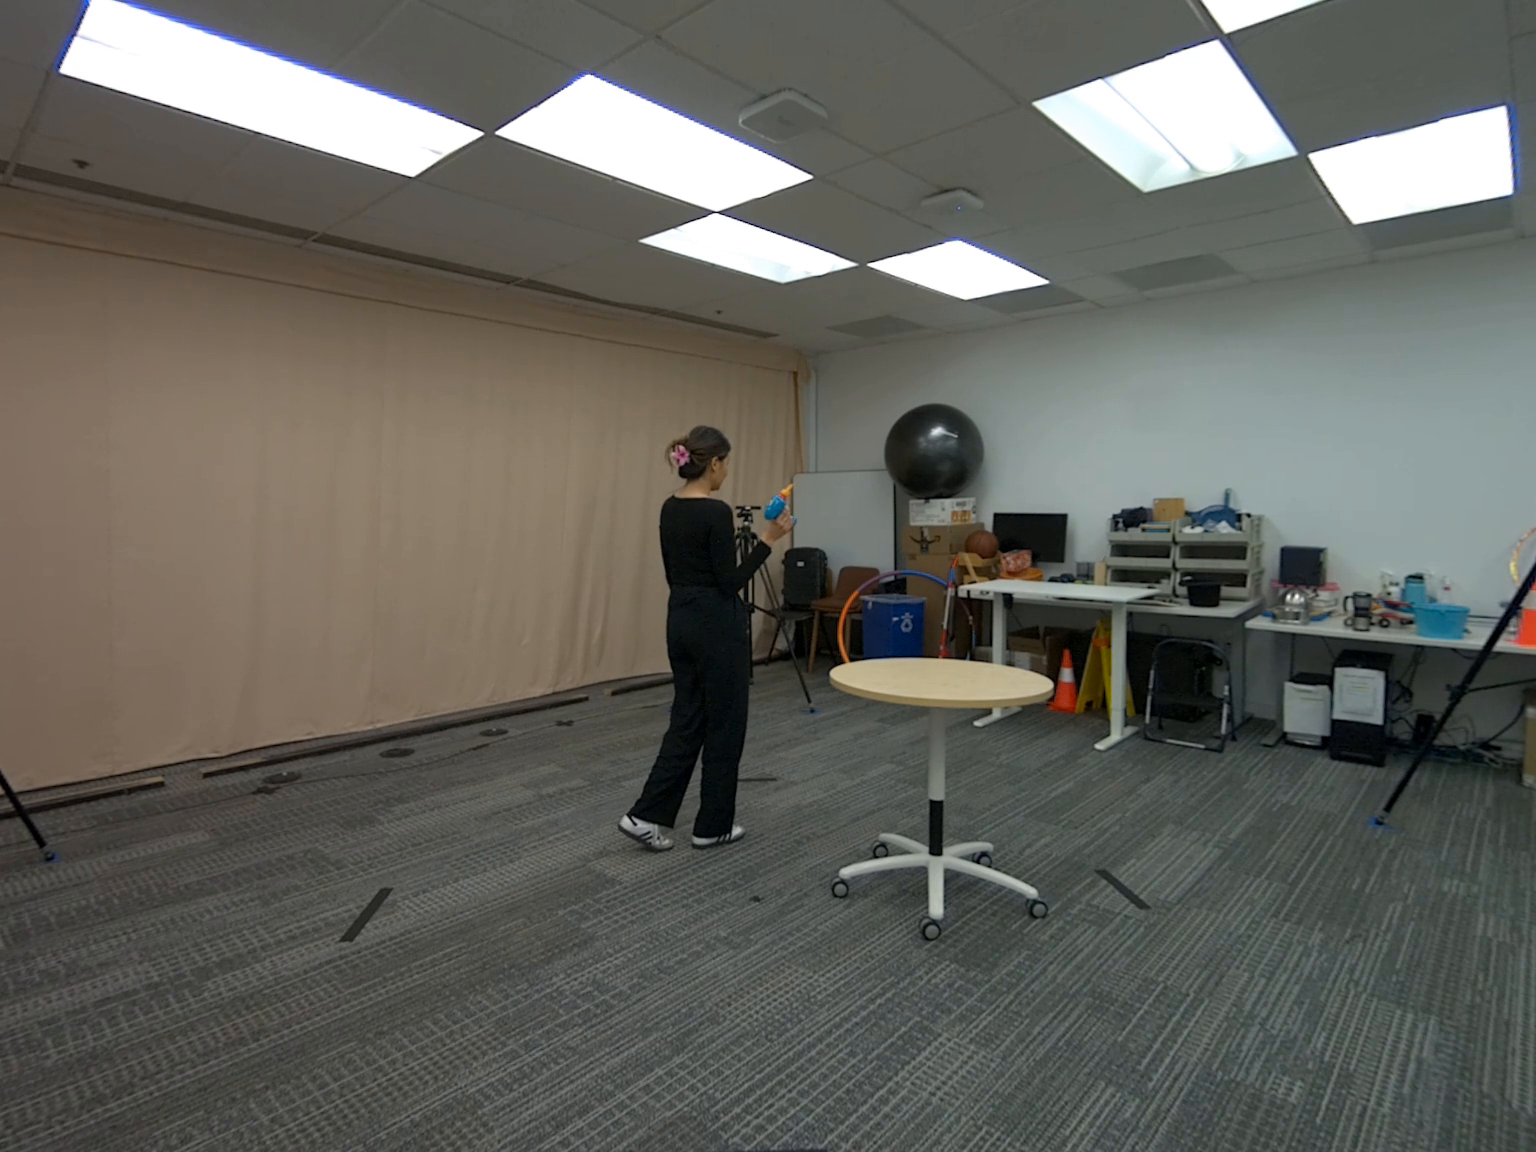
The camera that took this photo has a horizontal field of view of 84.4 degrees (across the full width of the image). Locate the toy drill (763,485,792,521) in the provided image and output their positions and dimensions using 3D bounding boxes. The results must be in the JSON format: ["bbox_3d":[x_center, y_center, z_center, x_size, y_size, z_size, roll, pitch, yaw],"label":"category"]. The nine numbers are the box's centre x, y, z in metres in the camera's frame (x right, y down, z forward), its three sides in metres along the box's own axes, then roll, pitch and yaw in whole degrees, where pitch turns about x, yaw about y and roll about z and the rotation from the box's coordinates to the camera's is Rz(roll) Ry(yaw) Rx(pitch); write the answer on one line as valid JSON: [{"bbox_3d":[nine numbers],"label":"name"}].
[{"bbox_3d":[0.072,-0.266,3.280,0.141,0.169,0.063,40,-10,-33],"label":"toy drill"}]
